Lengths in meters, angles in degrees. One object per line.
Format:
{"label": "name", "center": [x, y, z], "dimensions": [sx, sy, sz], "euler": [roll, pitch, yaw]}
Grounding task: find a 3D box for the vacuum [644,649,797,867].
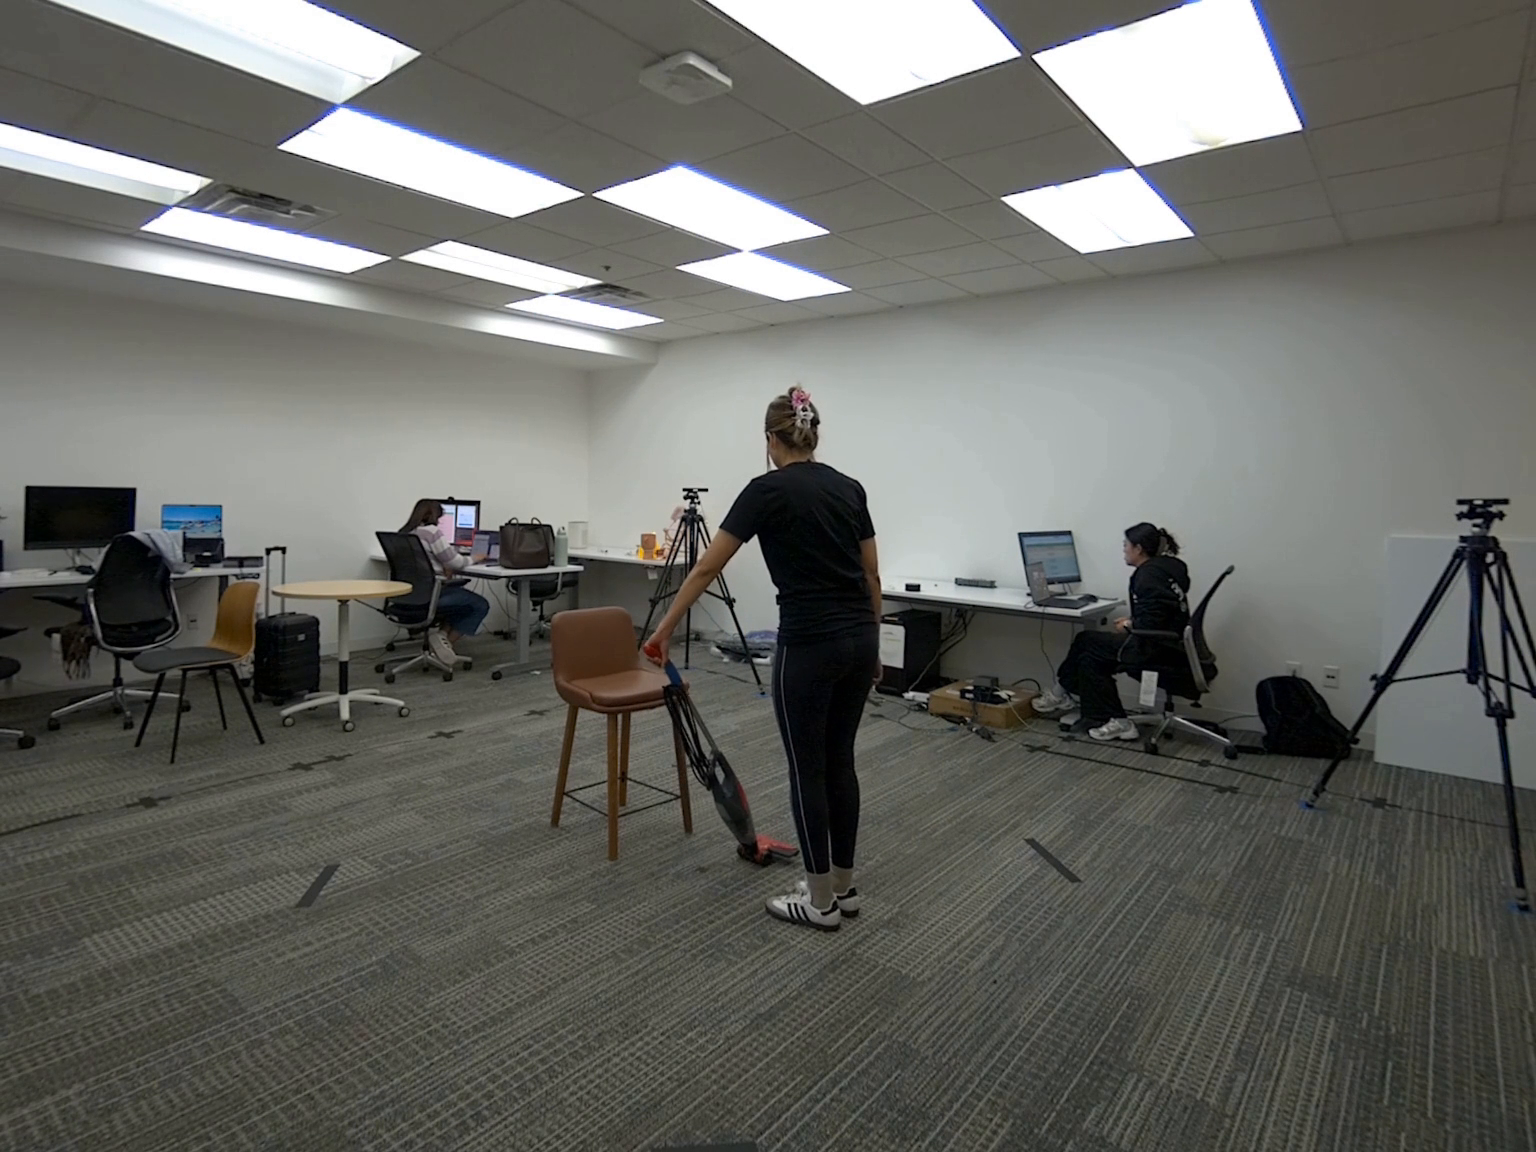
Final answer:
{"label": "vacuum", "center": [-0.220, 0.641, 2.978], "dimensions": [0.260, 1.015, 0.144], "euler": [1, 39, 40]}
